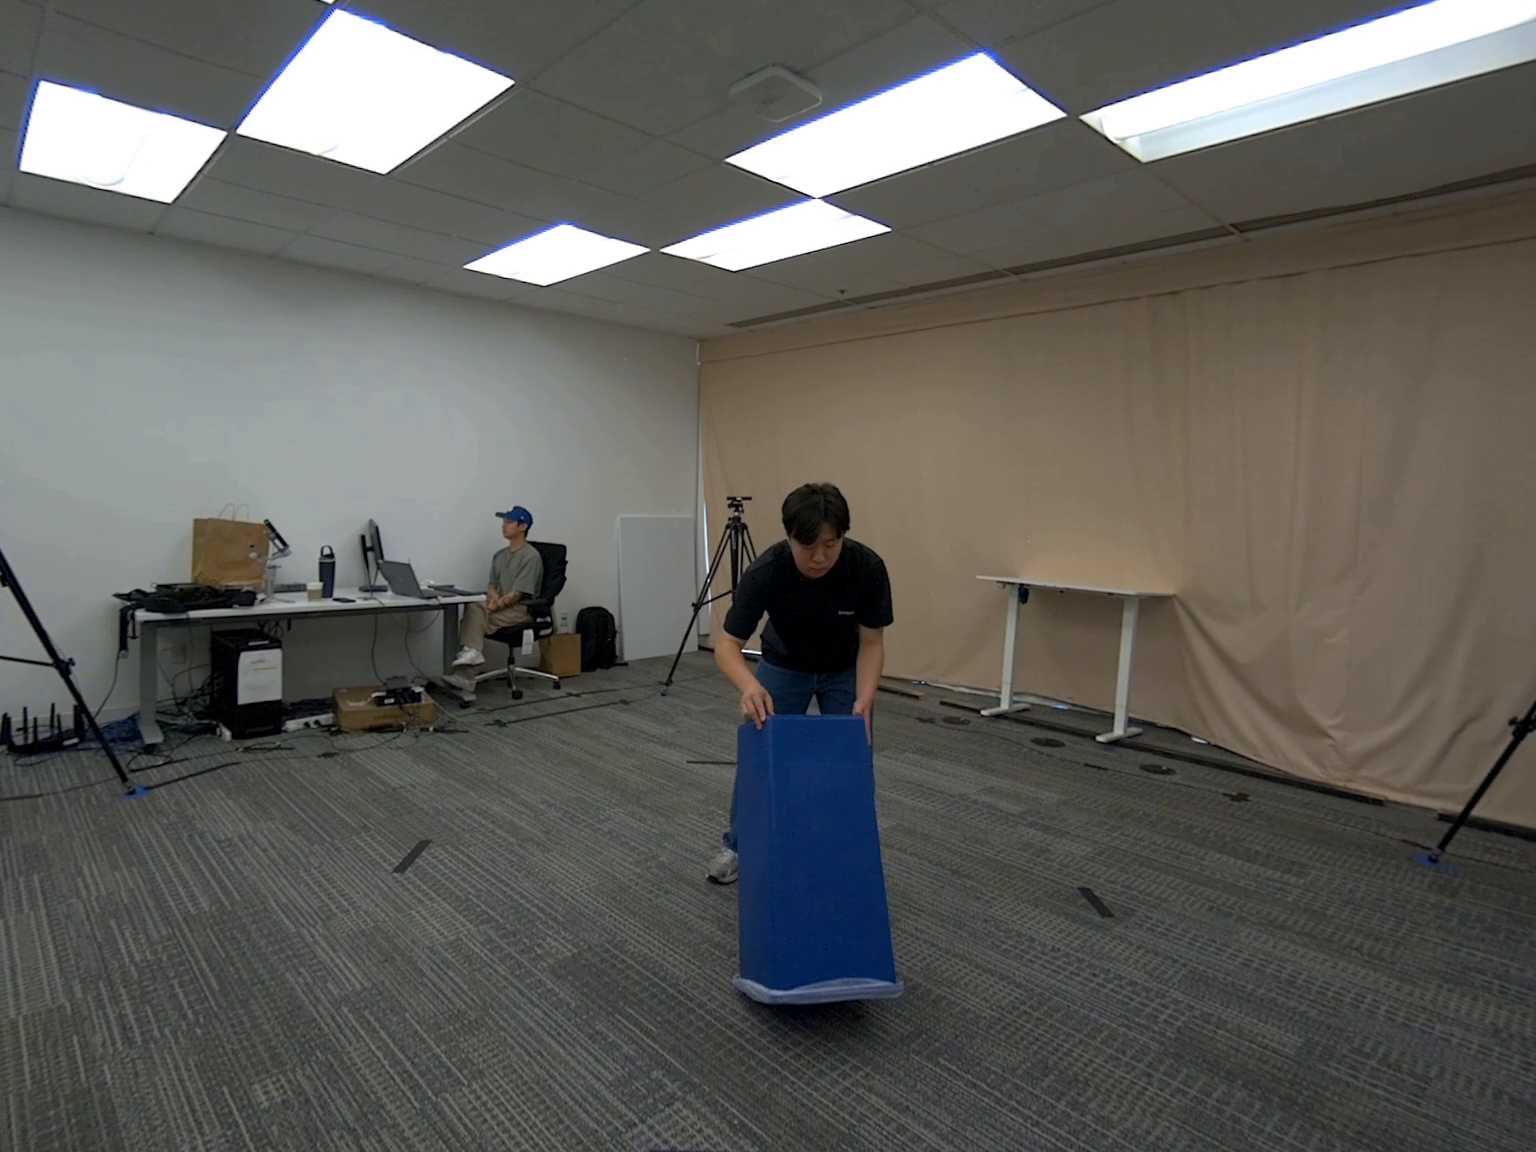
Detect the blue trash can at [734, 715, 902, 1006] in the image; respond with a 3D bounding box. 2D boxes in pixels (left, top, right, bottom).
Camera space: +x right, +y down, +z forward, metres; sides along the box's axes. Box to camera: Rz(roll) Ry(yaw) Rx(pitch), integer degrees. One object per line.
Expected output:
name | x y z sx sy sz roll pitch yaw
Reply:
blue trash can | 0.101 0.785 2.388 0.373 0.723 0.374 2 -19 -18
